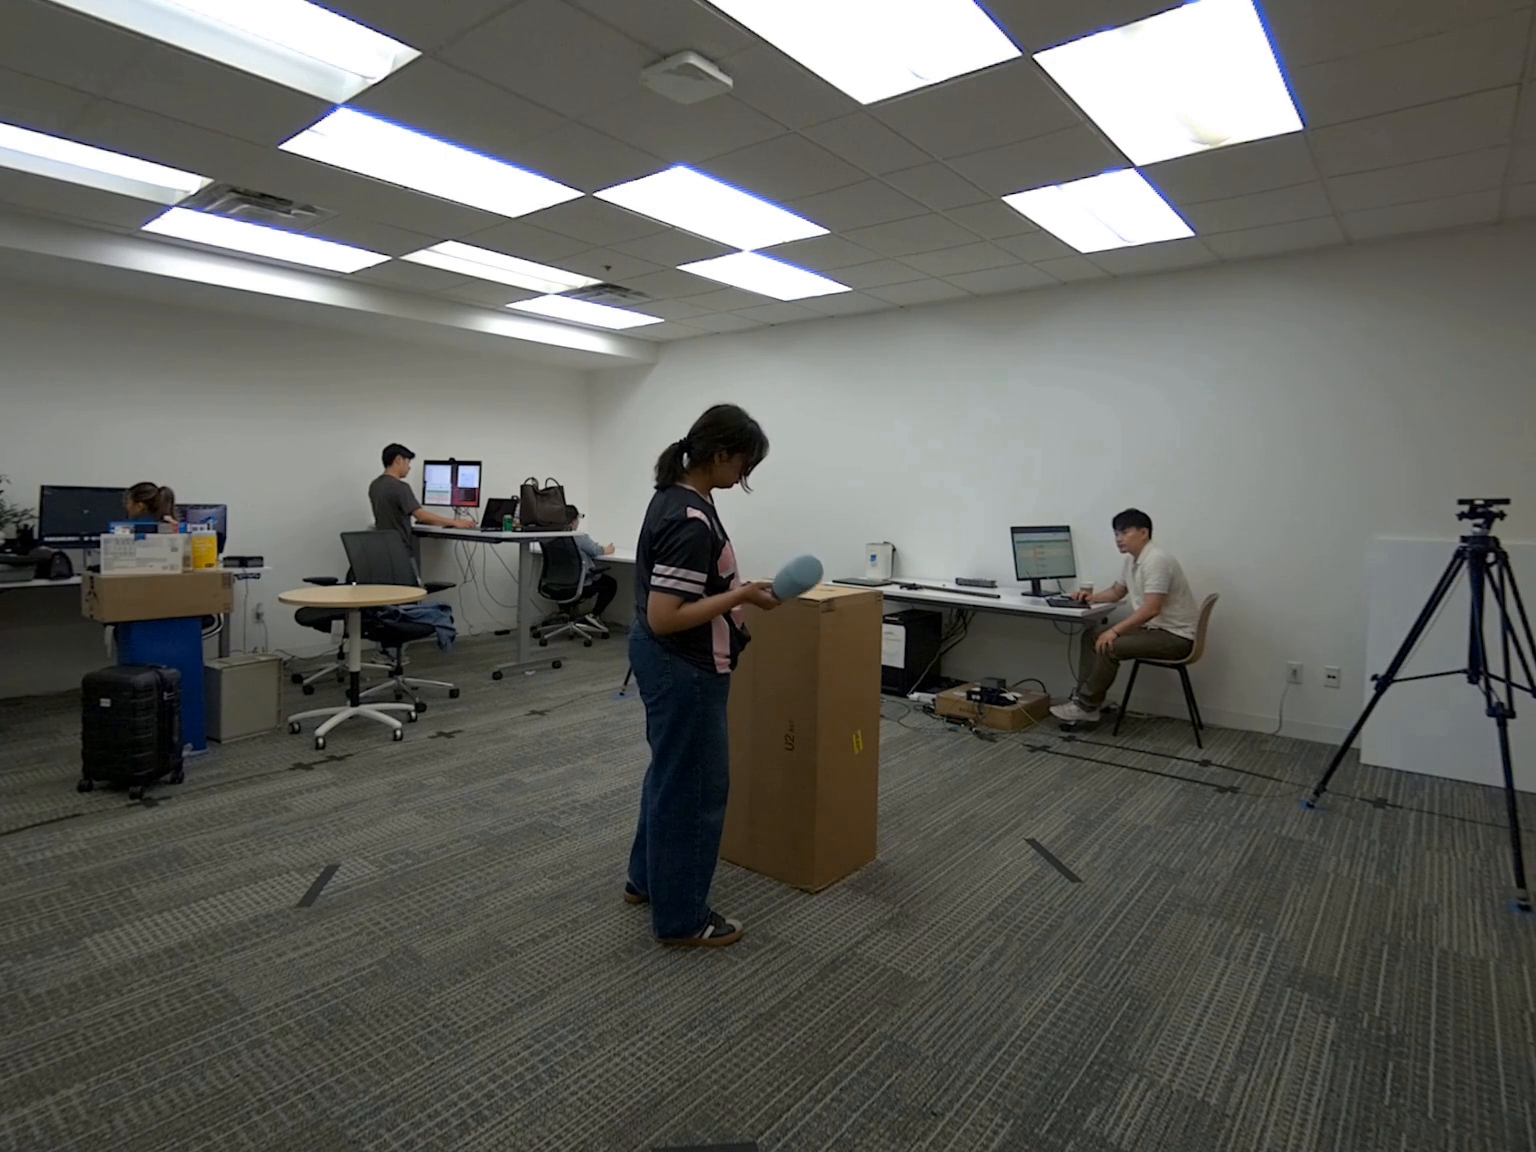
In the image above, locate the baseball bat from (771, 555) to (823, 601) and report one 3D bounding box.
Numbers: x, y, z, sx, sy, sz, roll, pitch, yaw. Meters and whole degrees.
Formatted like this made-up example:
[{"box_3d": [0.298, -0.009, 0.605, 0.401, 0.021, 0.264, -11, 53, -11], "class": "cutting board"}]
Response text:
[{"box_3d": [0.031, 0.045, 2.310, 0.088, 0.090, 0.544, 0, -10, -14], "class": "baseball bat"}]
